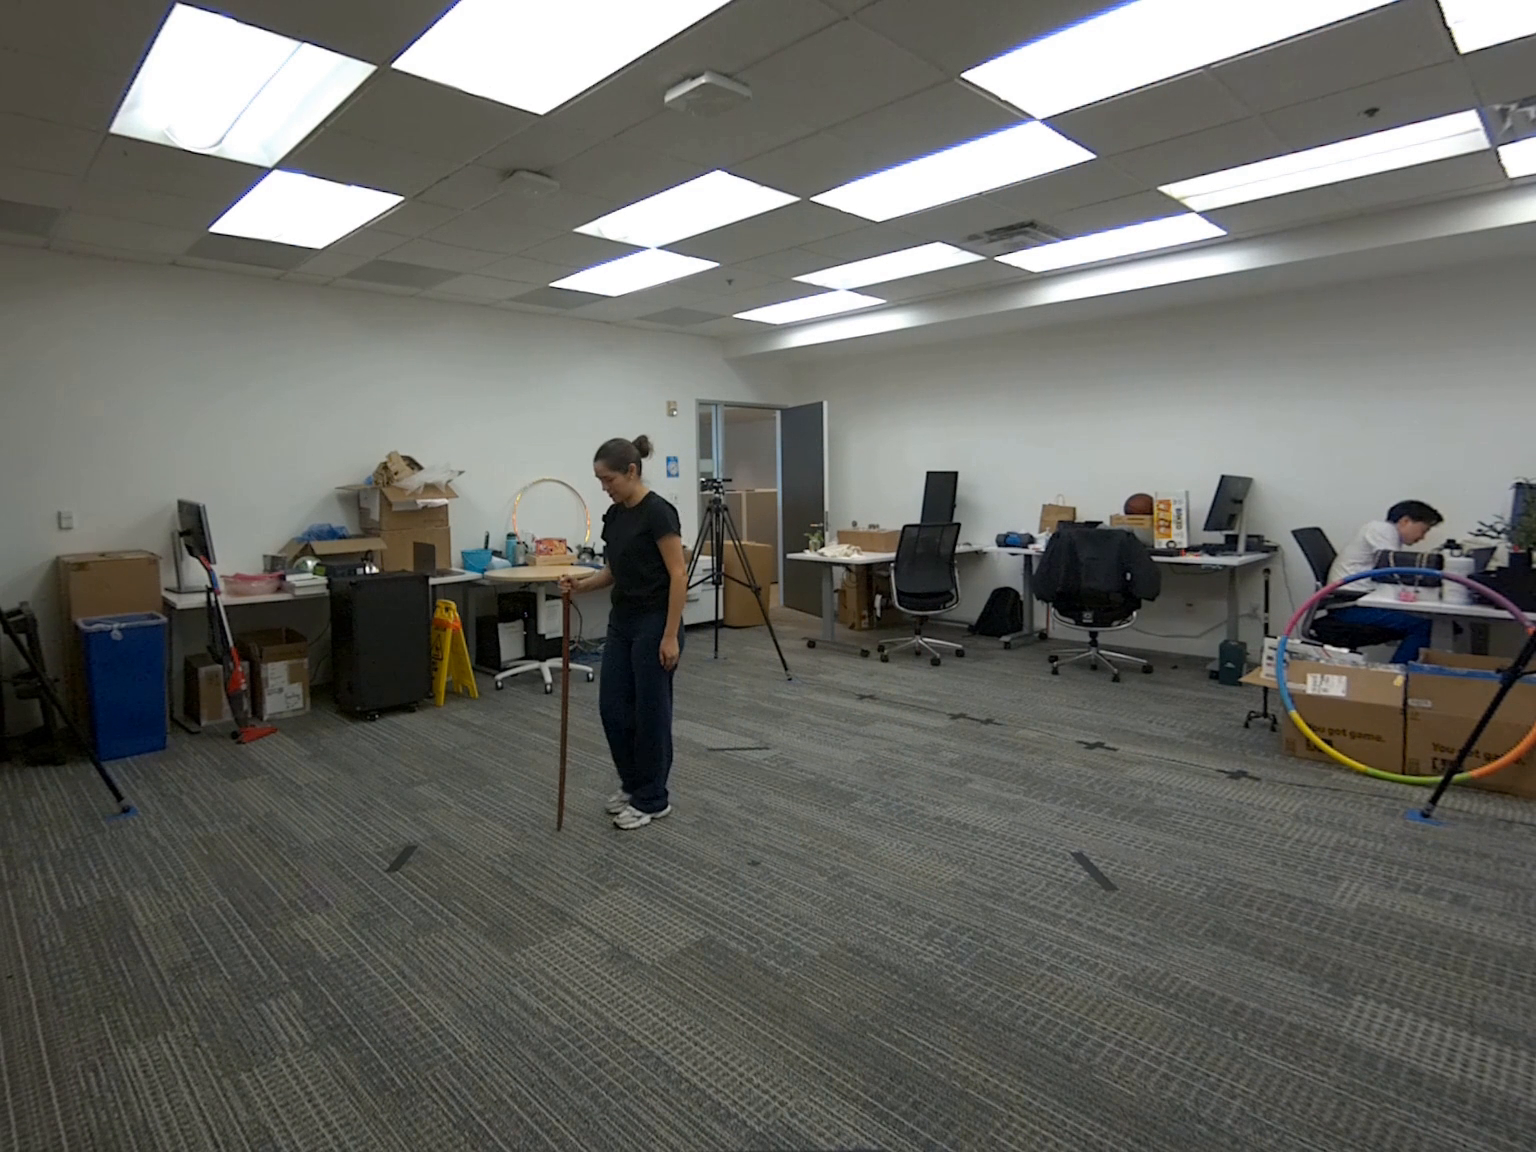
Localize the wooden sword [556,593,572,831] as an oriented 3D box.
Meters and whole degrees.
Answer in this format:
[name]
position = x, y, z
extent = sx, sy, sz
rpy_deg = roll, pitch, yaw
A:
[wooden sword]
position = -0.827, 0.520, 3.456
extent = 0.023, 1.026, 0.052
rpy_deg = 1, -1, -27
